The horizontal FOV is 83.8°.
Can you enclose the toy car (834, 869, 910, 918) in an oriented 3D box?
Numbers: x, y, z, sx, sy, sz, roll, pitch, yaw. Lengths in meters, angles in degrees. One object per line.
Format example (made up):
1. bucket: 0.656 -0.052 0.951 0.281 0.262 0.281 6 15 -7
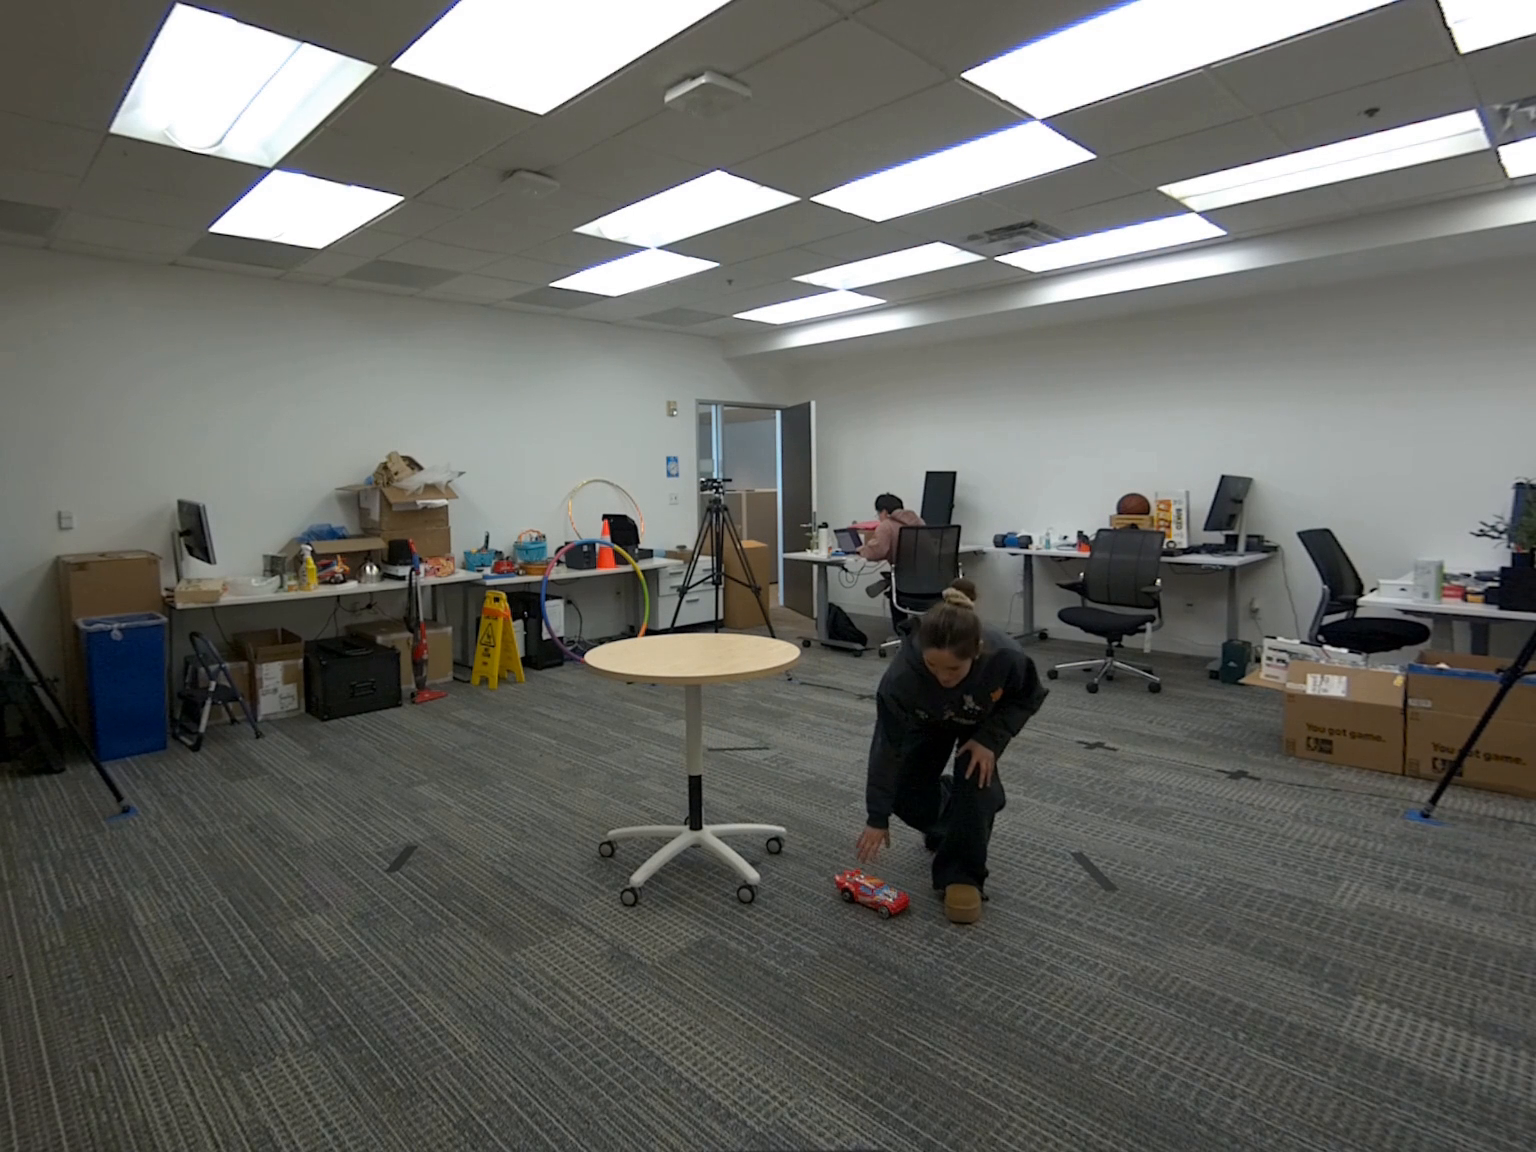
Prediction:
1. toy car: 0.339 1.040 2.802 0.127 0.082 0.264 -6 18 -44
